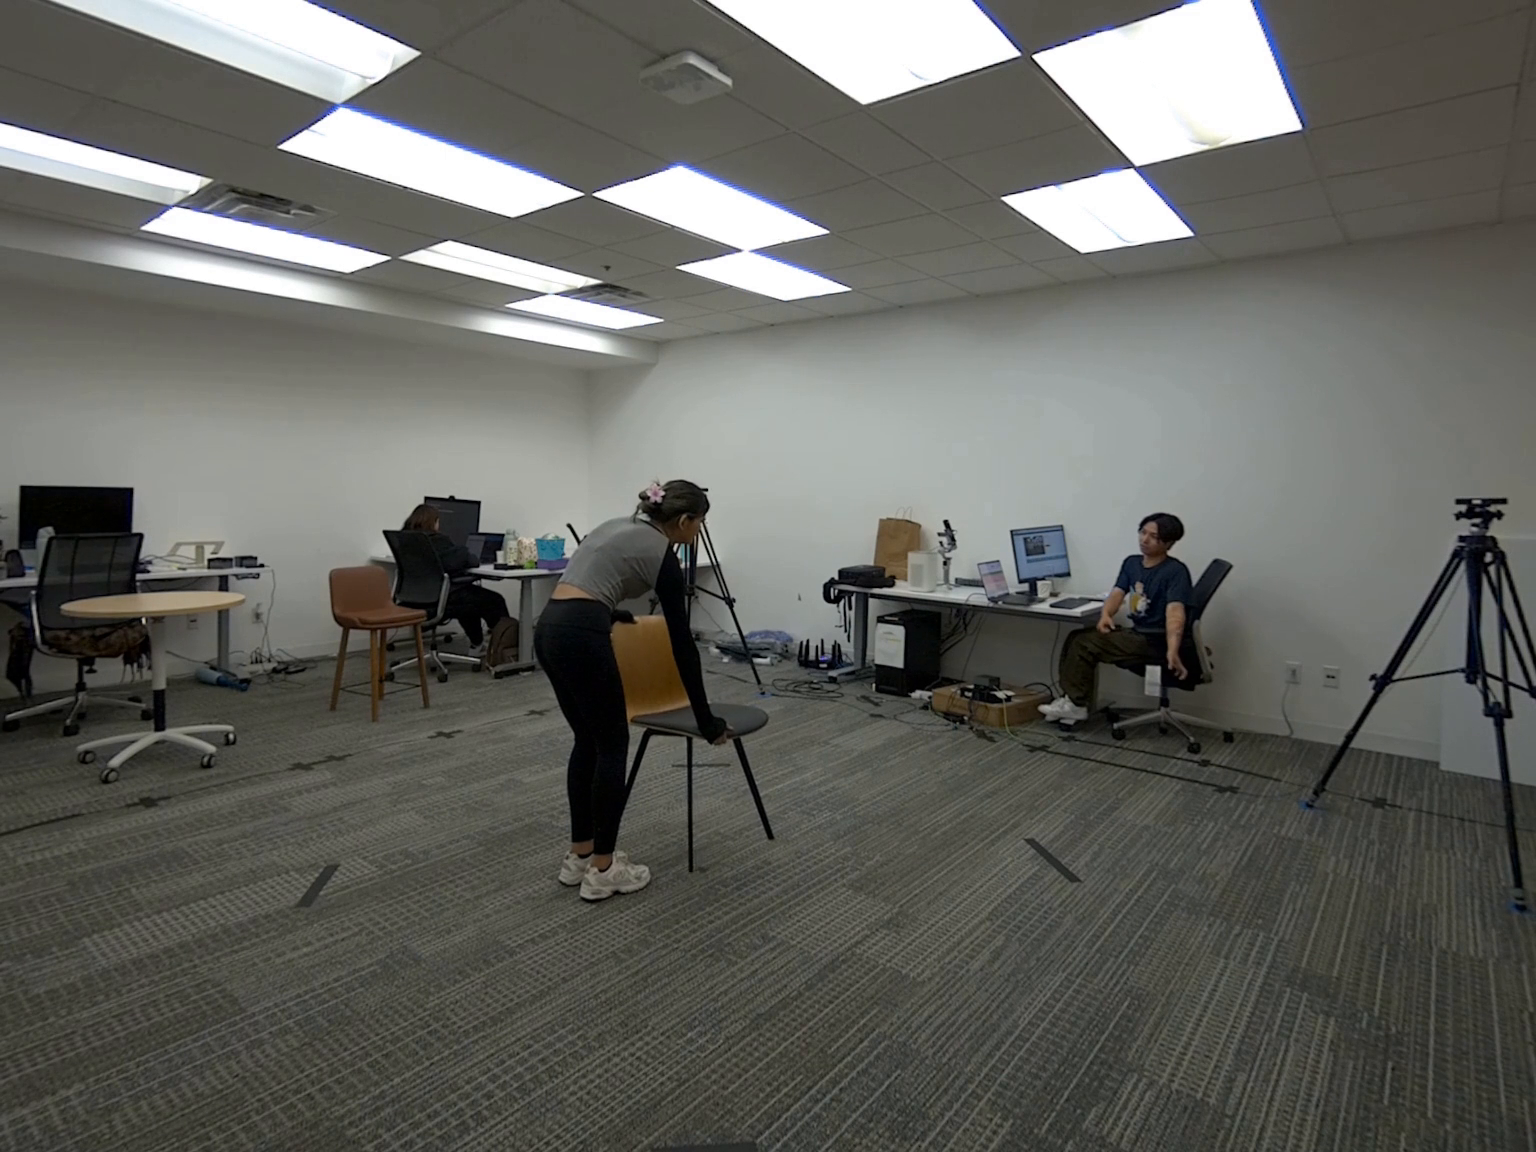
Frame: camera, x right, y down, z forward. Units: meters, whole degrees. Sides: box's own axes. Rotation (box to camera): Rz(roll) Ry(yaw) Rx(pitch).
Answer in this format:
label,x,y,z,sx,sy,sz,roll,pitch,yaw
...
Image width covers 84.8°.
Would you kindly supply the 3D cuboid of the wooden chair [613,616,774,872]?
label,x,y,z,sx,sy,sz,roll,pitch,yaw
wooden chair,-0.302,0.579,3.233,0.537,0.882,0.463,-8,-5,41
